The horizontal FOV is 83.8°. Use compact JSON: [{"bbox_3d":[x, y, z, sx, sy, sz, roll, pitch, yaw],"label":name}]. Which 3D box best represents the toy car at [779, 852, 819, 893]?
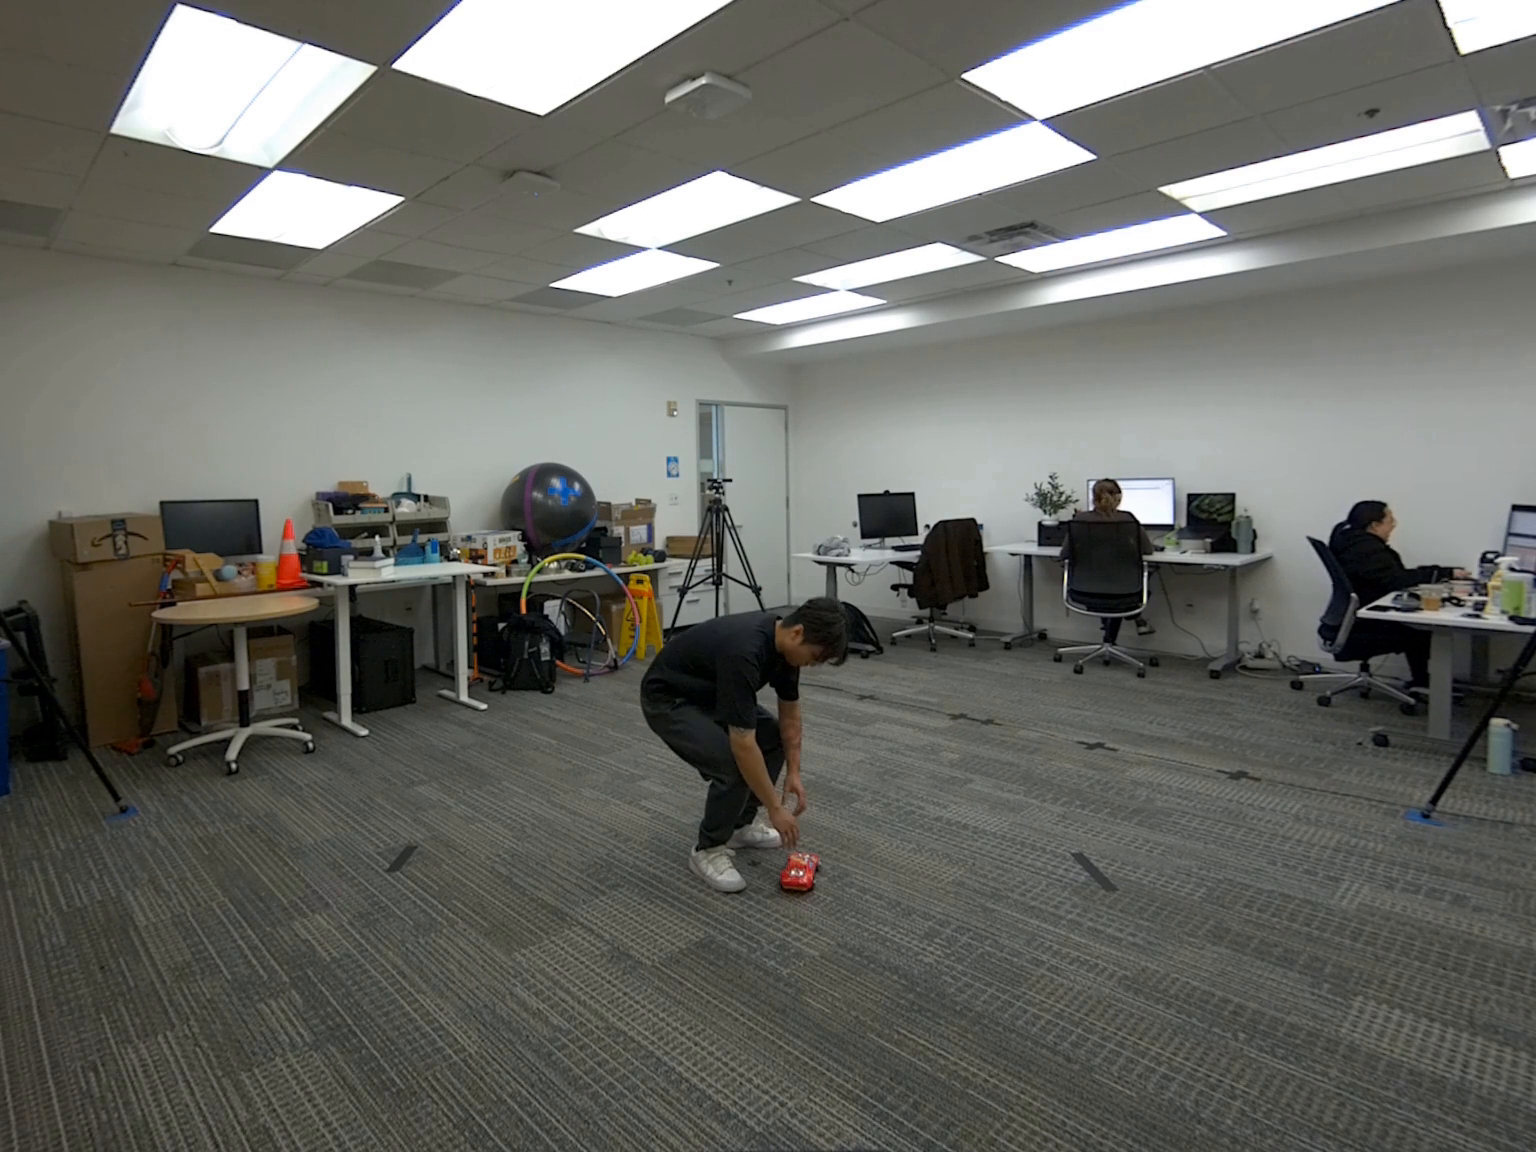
[{"bbox_3d":[0.113,1.029,2.958,0.132,0.083,0.250,2,-4,12],"label":"toy car"}]
